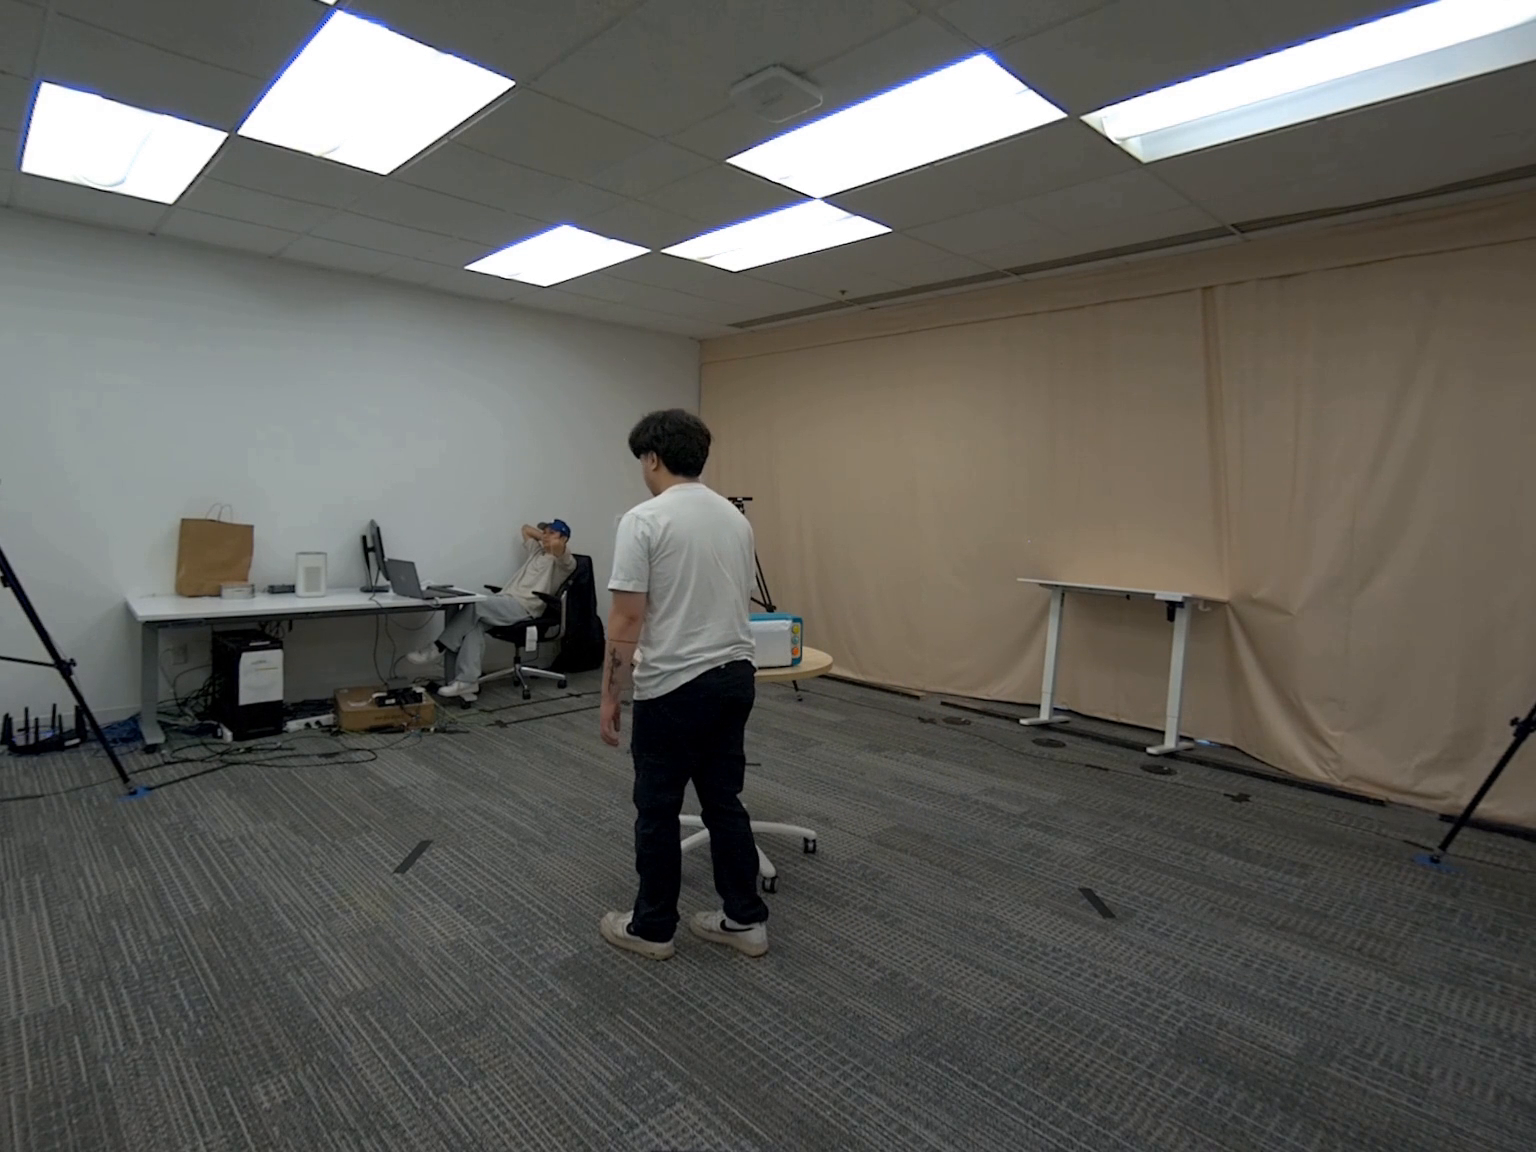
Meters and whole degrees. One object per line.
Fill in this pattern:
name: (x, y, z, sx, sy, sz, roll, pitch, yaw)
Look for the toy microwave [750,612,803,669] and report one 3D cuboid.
toy microwave: (-0.024, 0.233, 3.019, 0.281, 0.184, 0.155, -1, 4, -24)
